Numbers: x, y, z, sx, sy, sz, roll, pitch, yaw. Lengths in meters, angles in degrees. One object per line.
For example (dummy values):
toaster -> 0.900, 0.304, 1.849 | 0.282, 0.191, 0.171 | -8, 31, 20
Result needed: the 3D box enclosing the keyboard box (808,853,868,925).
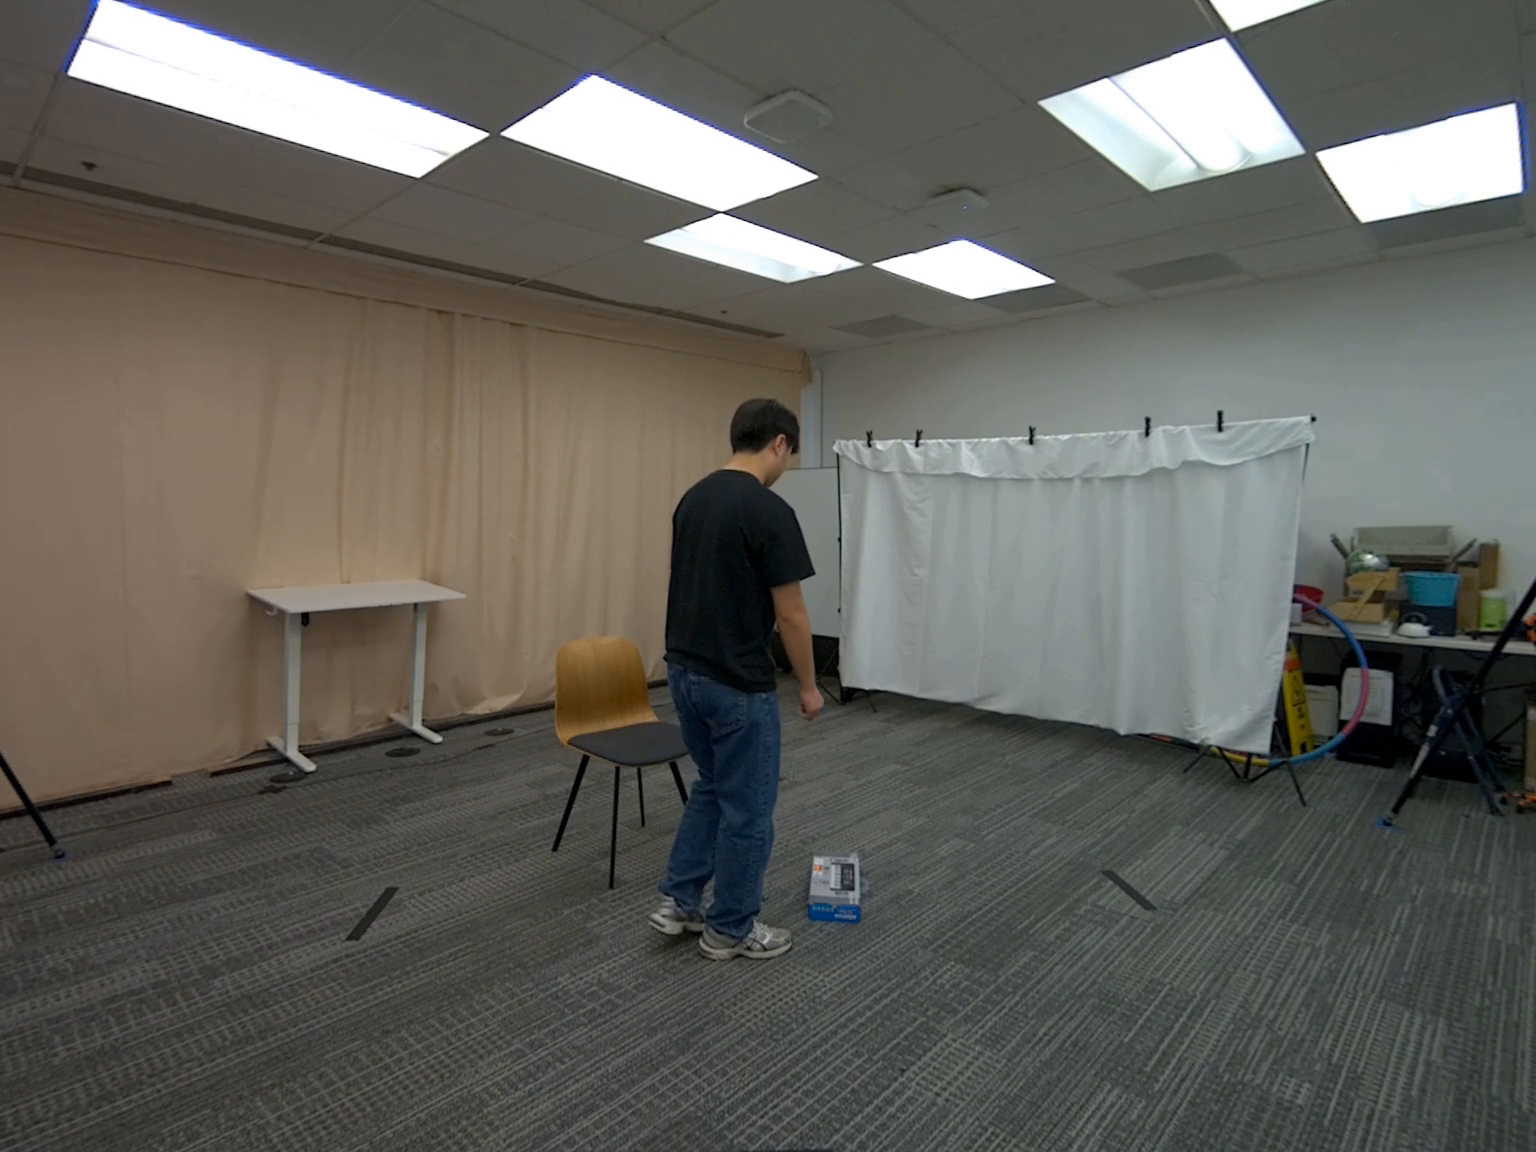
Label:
keyboard box -> 0.247, 1.110, 3.034 | 0.177, 0.059, 0.434 | 0, 5, 6
